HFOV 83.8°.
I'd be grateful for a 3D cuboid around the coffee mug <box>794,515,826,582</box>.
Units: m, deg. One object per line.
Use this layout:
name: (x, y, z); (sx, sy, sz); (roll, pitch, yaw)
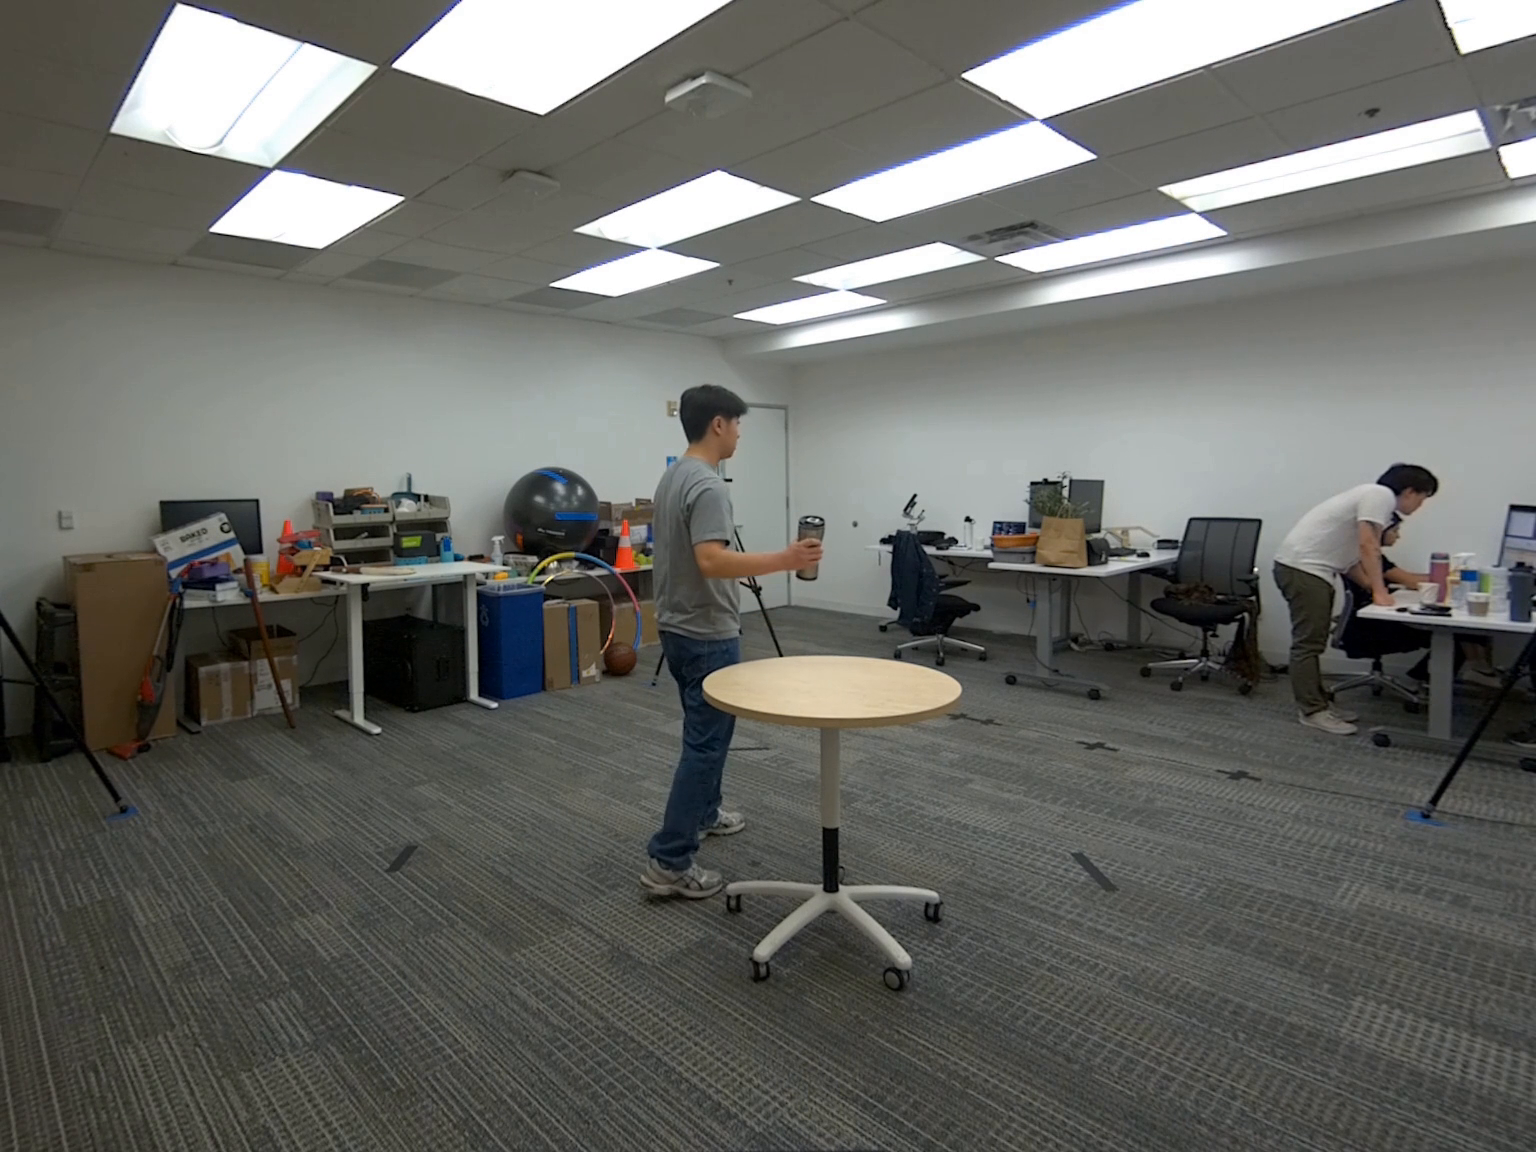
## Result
coffee mug: (0.148, -0.088, 2.828); (0.091, 0.200, 0.119); (14, 21, 43)
